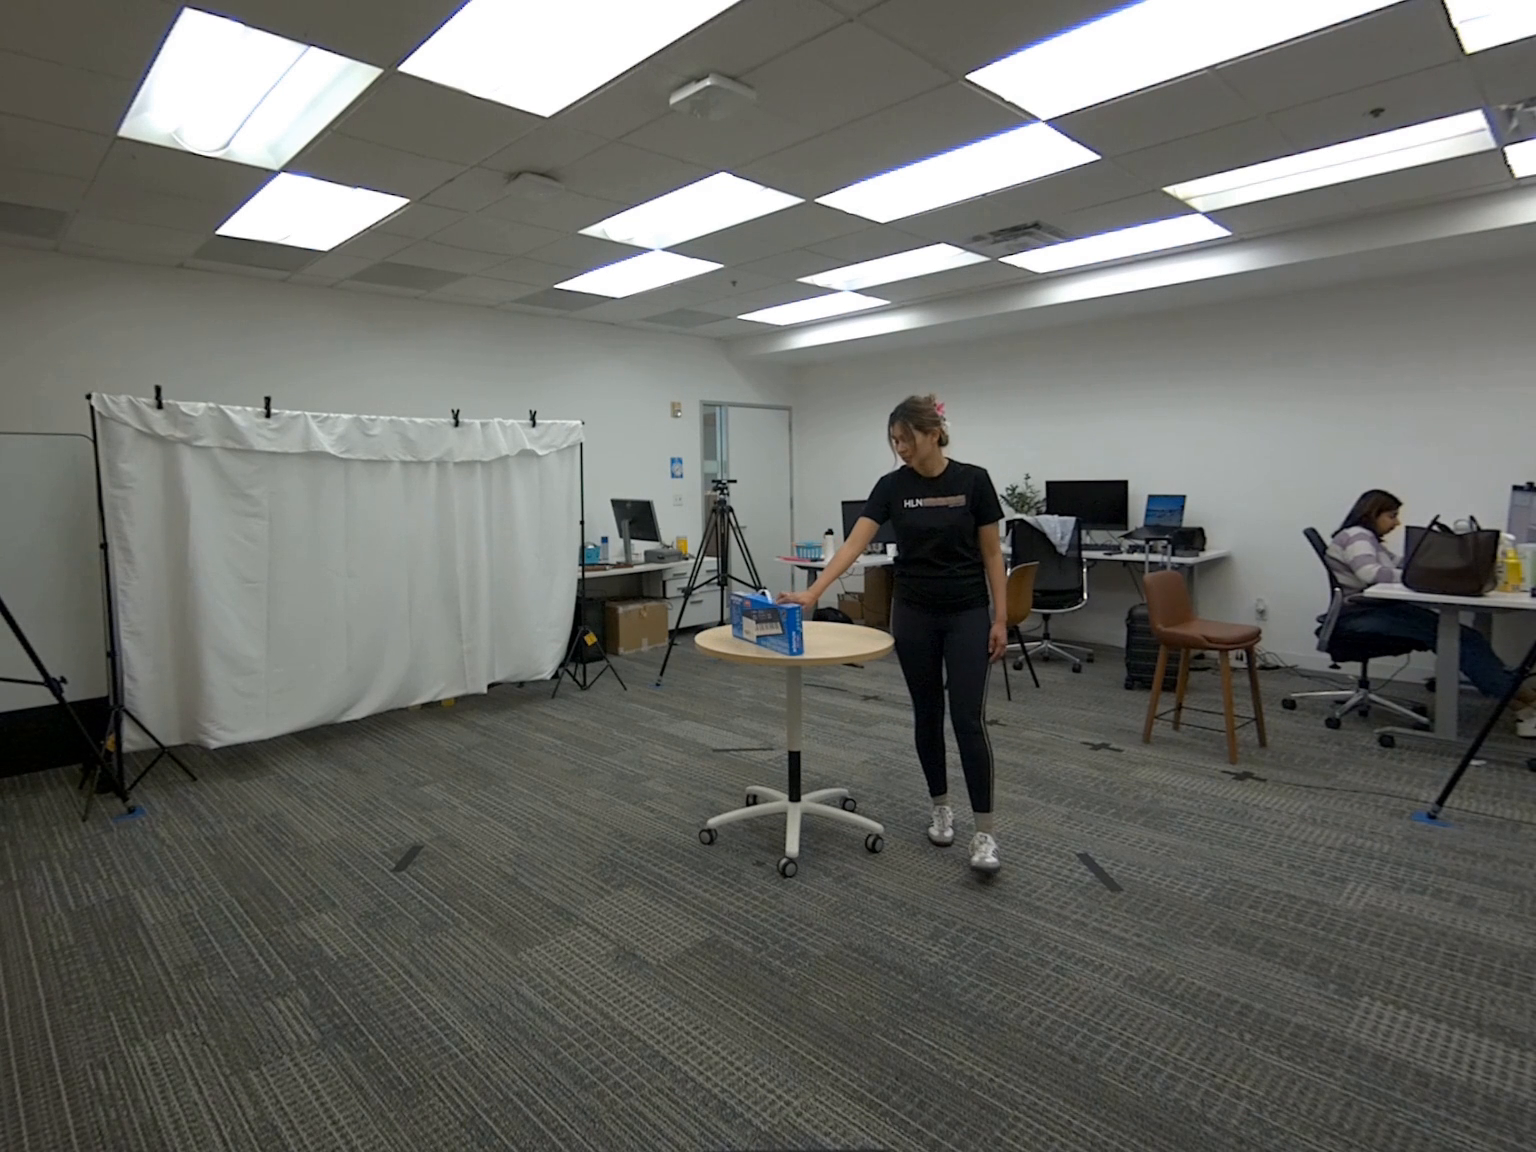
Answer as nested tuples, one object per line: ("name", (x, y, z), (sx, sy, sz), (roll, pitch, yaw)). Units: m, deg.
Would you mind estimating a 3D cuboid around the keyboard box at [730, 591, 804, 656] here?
("keyboard box", (-0.010, 0.170, 3.157), (0.058, 0.175, 0.449), (-3, 7, -28))
